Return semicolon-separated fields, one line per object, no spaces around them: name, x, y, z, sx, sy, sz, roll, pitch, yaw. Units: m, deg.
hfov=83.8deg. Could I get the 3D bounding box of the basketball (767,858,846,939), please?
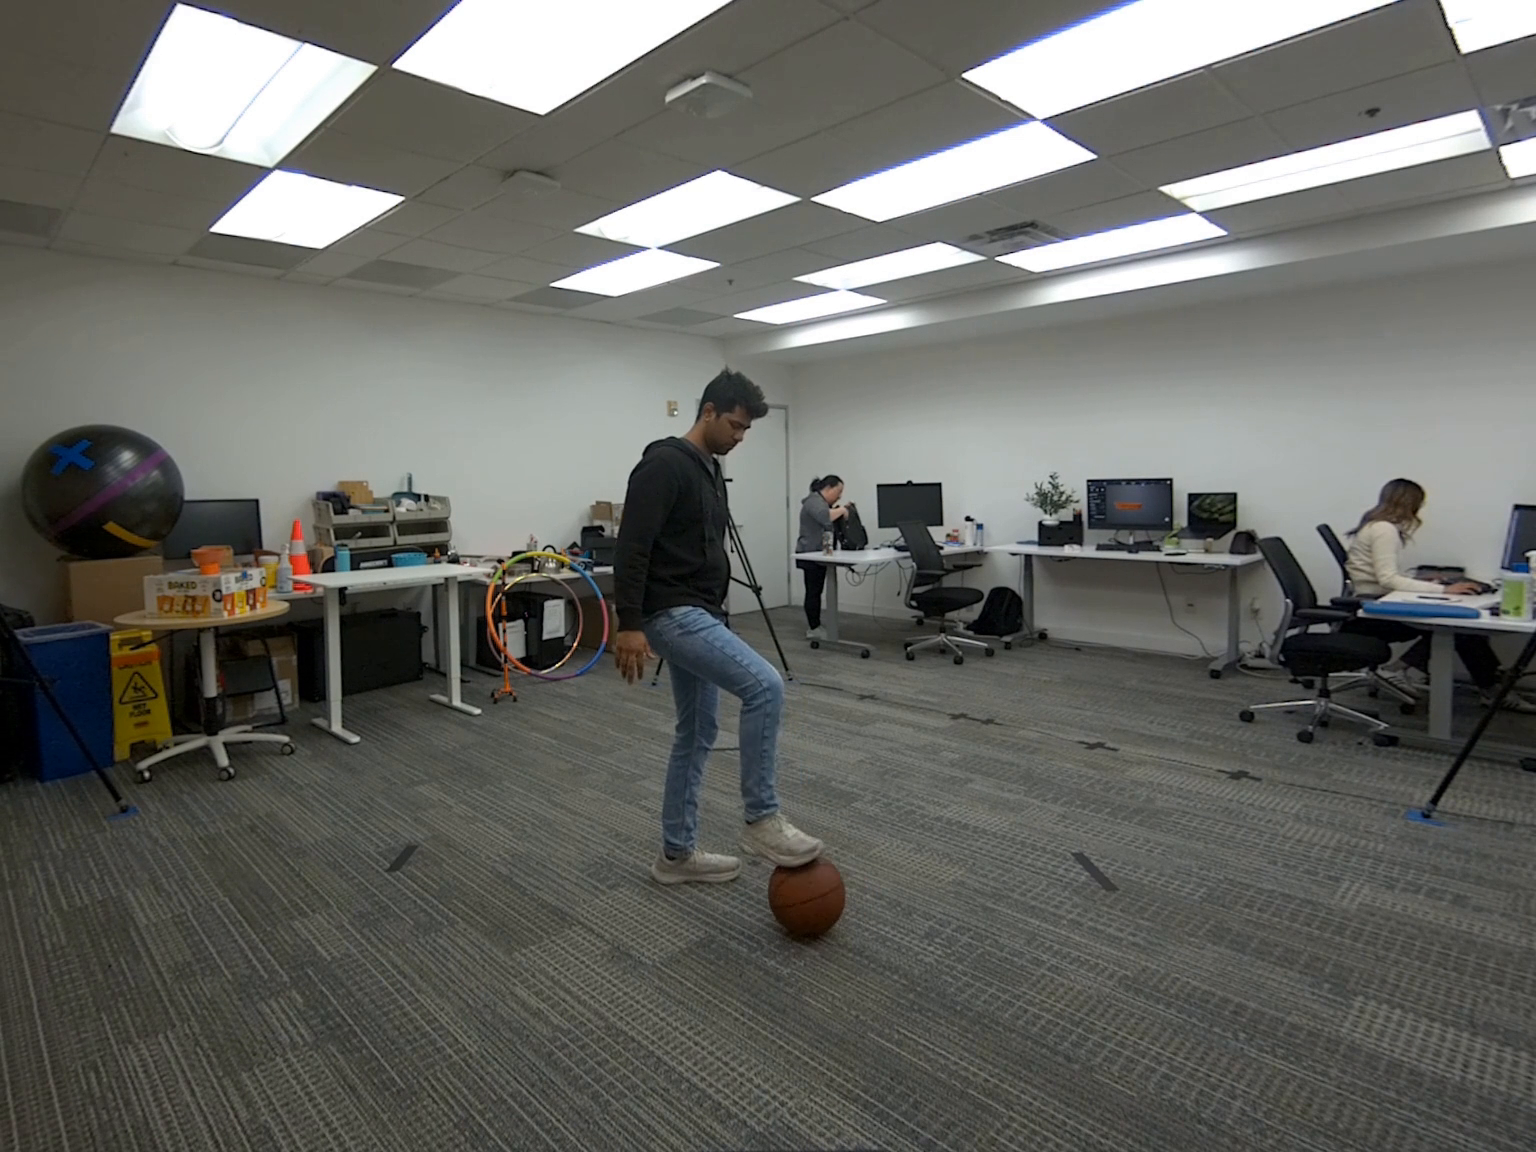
basketball;0.126;0.977;2.627;0.236;0.235;0.237;-1;5;-2
